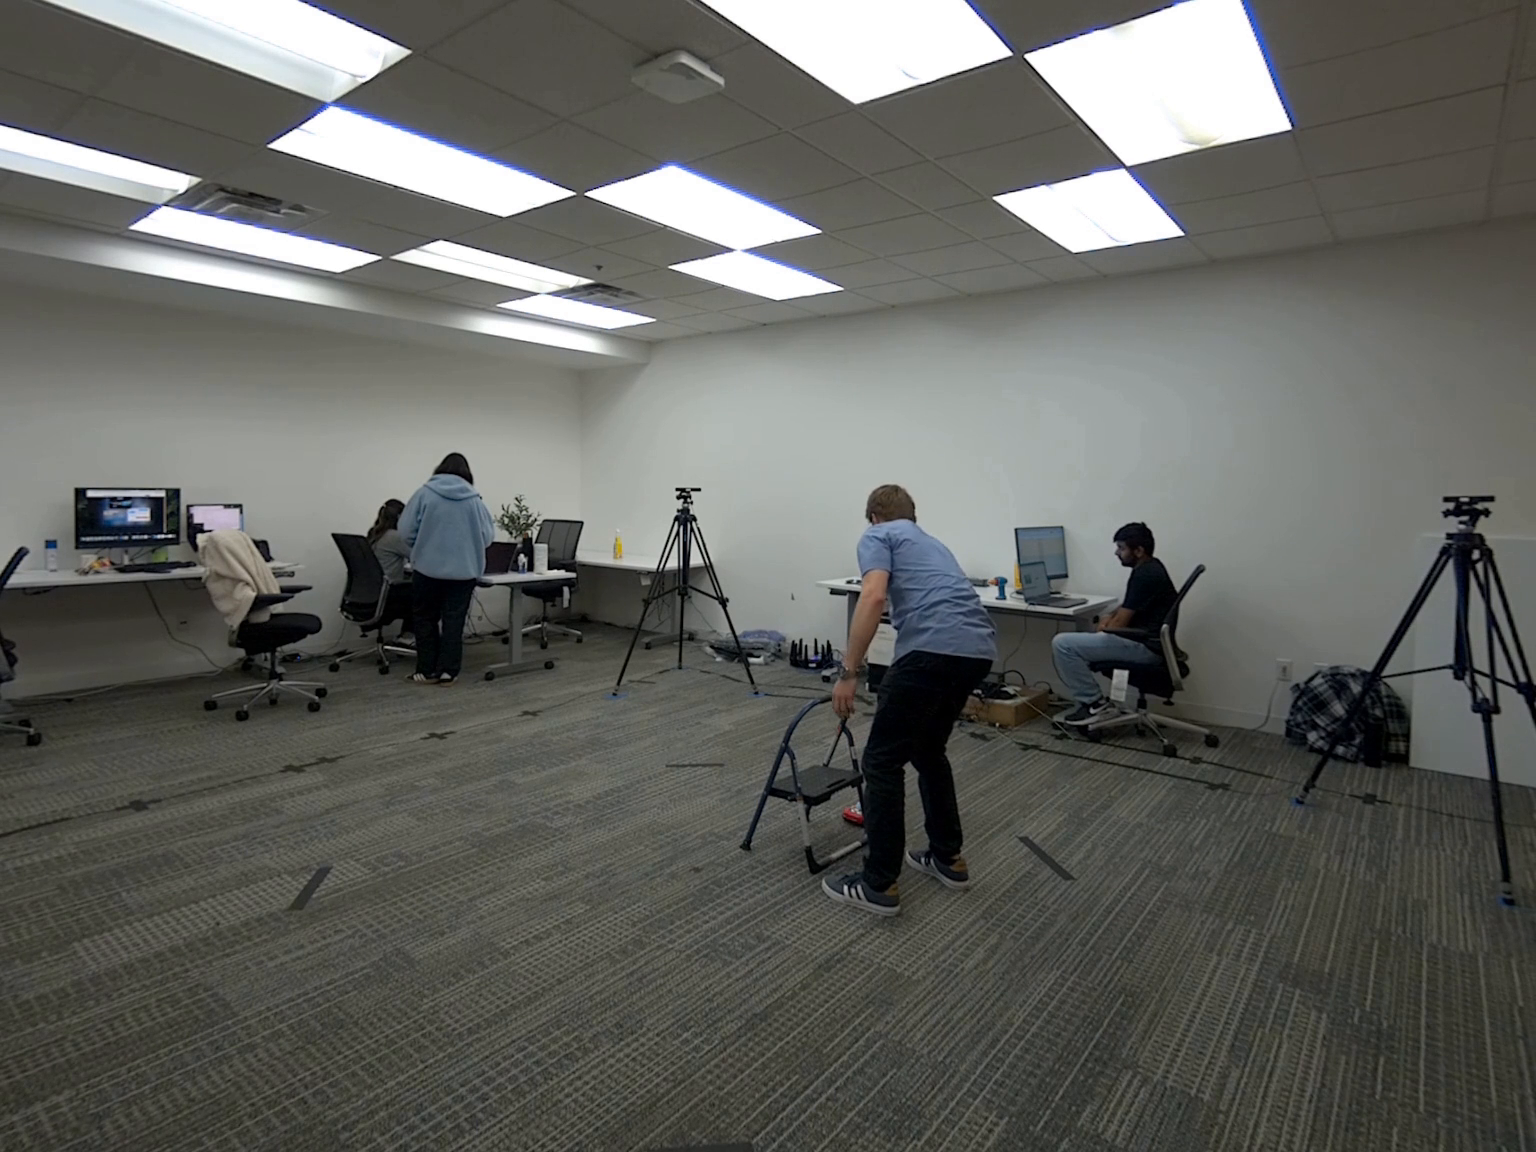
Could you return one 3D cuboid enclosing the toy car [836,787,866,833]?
[{"bbox_3d":[0.430,0.993,3.629,0.249,0.082,0.135,-18,17,-41],"label":"toy car"}]
